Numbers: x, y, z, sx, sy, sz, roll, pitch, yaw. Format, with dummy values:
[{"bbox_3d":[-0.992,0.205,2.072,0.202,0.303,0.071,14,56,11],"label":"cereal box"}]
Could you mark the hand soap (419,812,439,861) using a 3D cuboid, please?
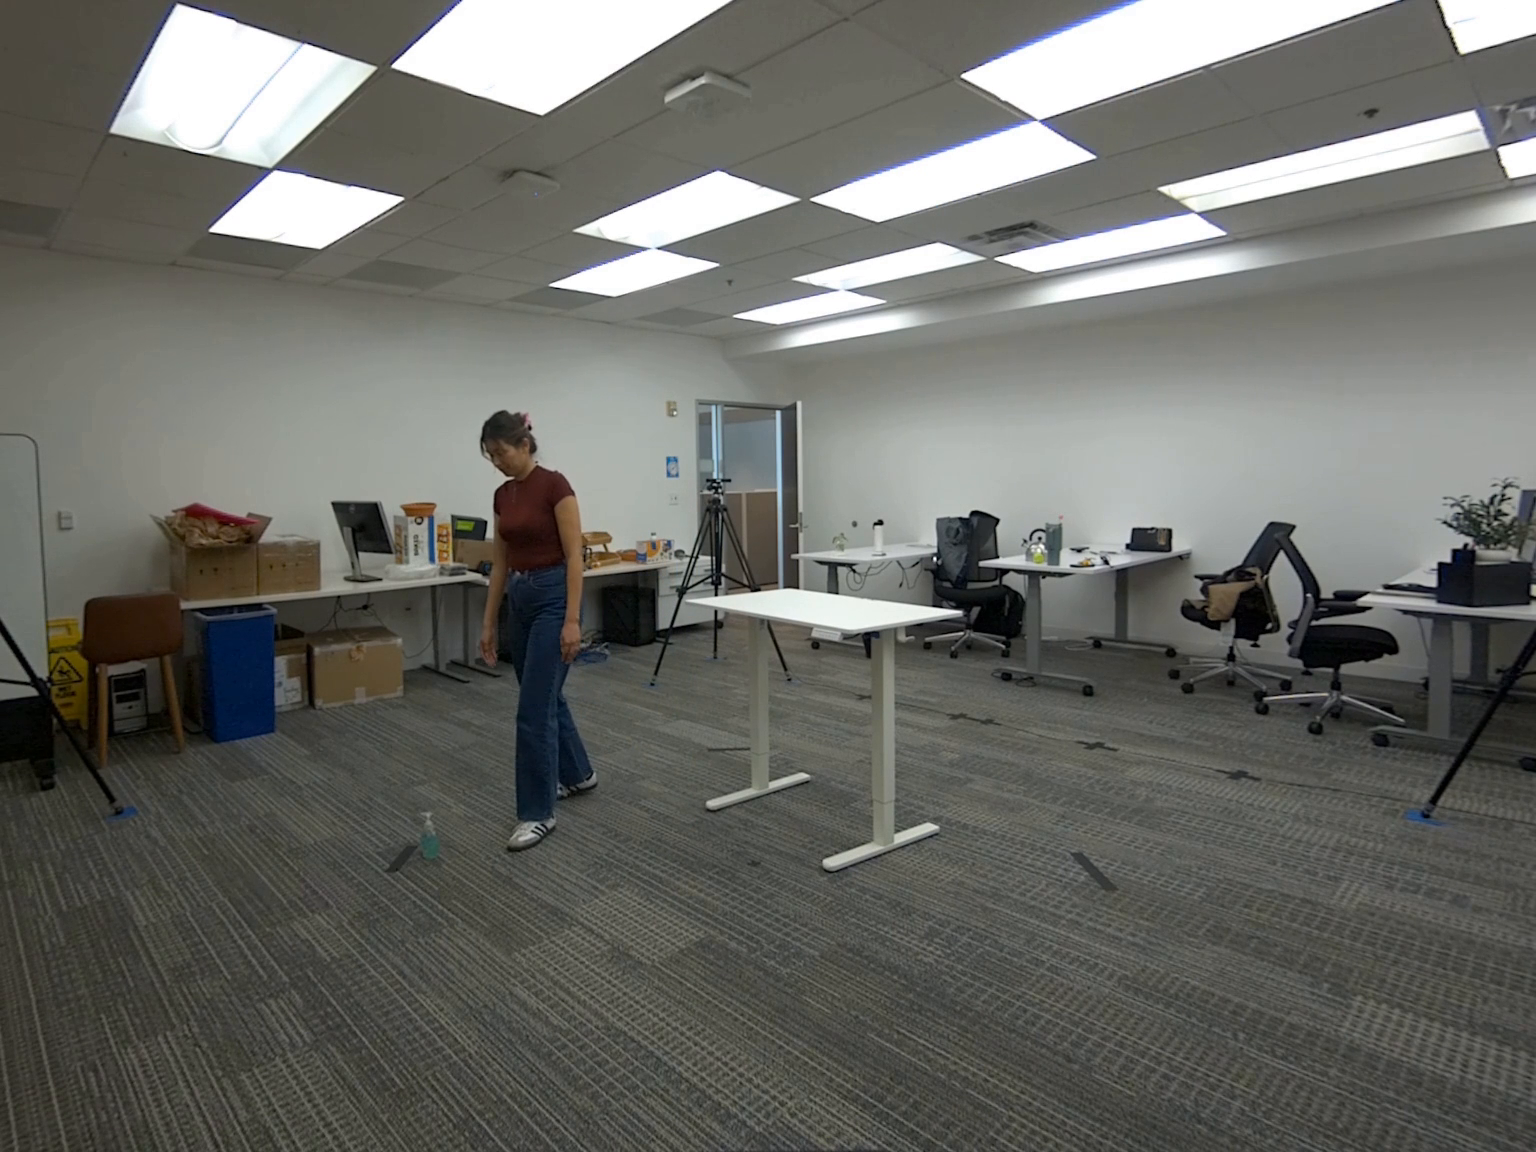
[{"bbox_3d":[-1.275,0.978,3.217,0.086,0.167,0.043,0,8,24],"label":"hand soap"}]
